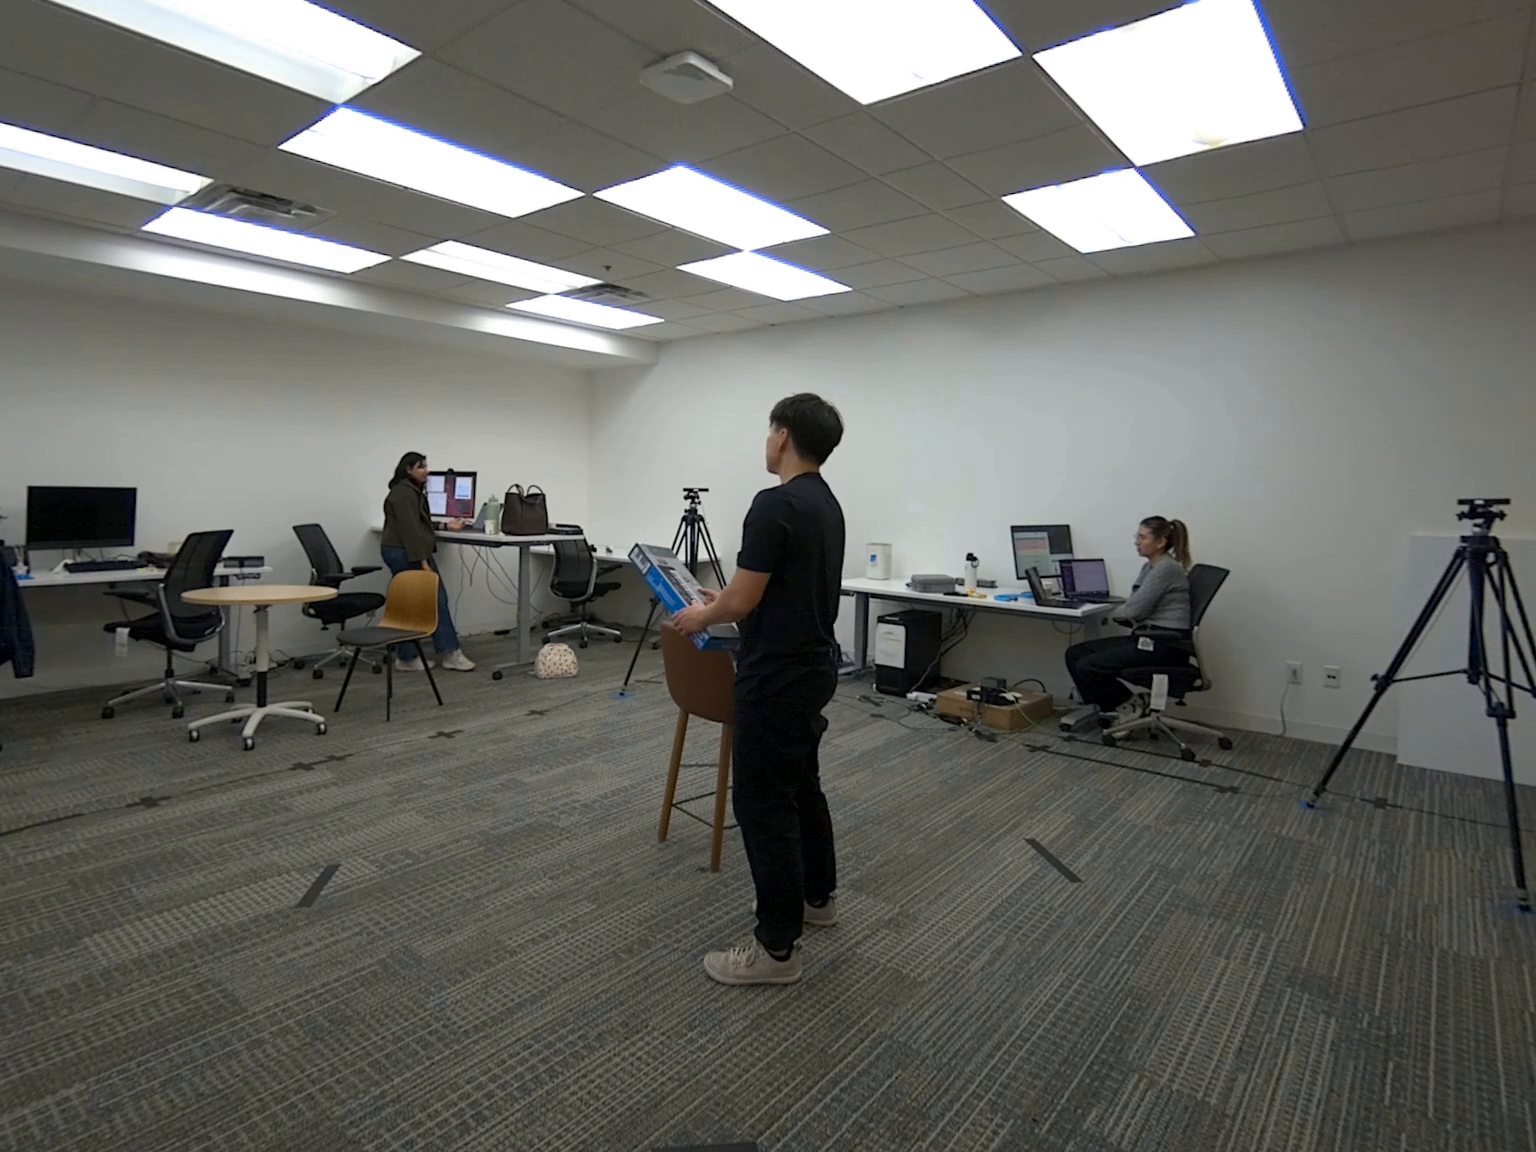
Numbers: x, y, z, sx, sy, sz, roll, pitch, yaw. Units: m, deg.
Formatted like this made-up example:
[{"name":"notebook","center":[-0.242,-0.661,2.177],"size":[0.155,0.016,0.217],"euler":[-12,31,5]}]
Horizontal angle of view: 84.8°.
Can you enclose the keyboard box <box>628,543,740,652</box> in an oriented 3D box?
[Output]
[{"name":"keyboard box","center":[-0.272,0.068,2.719],"size":[0.170,0.059,0.454],"euler":[10,32,-53]}]
